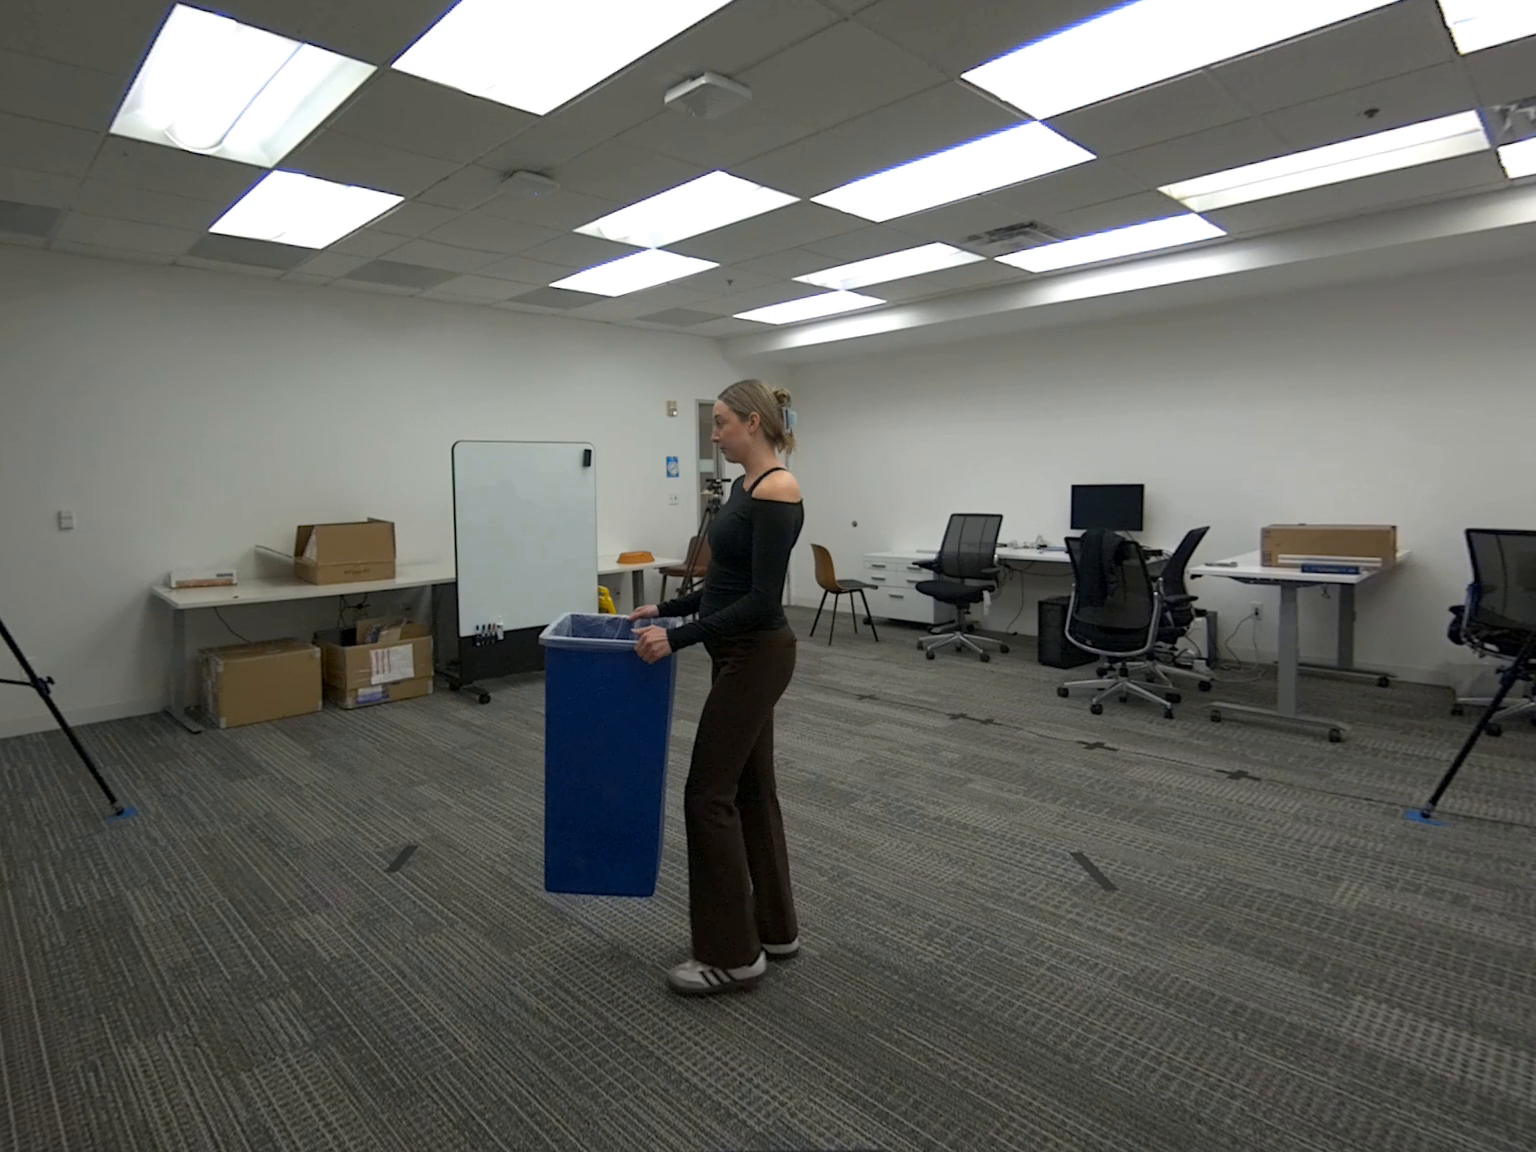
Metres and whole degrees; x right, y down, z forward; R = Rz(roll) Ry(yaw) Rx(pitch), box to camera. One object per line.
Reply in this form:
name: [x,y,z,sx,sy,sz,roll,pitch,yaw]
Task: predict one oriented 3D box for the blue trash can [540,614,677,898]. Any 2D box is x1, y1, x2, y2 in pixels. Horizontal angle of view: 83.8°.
blue trash can: [-0.442,0.501,2.421,0.378,0.711,0.375,3,5,0]
